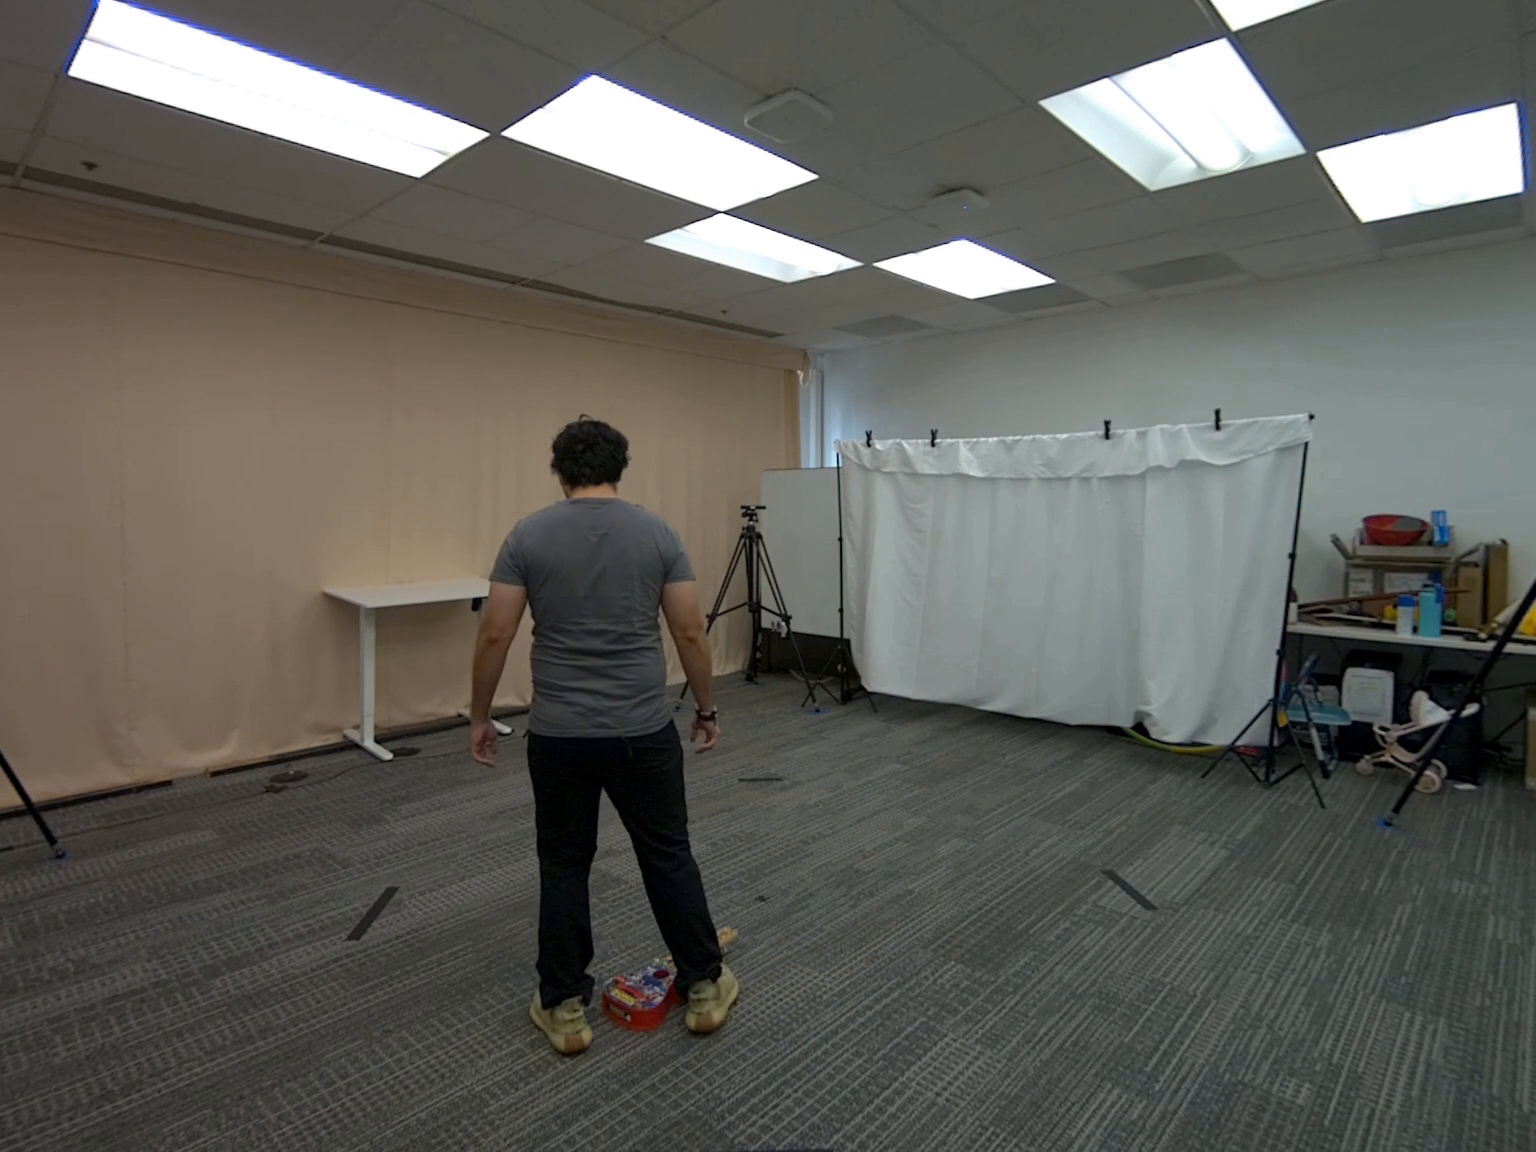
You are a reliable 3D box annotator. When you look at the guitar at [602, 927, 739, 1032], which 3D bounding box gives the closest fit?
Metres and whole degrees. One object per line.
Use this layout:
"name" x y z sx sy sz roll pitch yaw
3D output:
"guitar" -0.242 1.161 2.431 0.483 0.070 0.199 -5 7 -41
